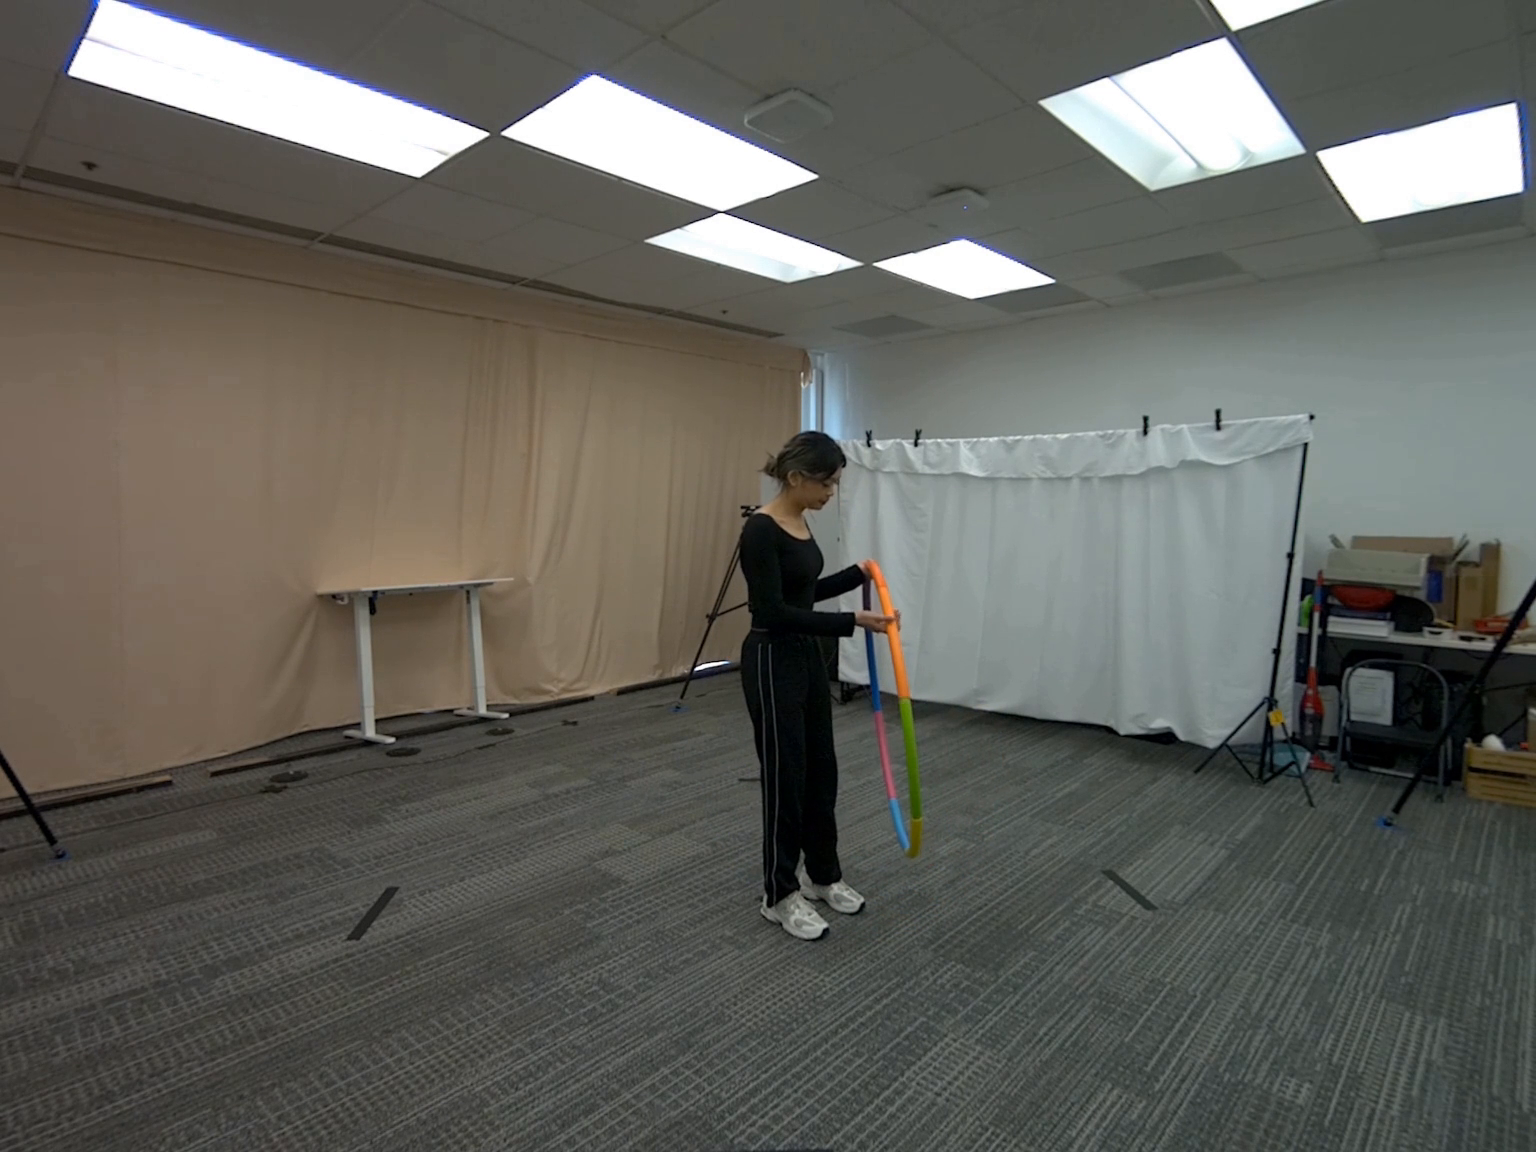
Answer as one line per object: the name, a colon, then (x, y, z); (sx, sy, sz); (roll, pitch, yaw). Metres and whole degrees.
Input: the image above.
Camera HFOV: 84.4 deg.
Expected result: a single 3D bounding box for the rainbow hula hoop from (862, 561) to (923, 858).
rainbow hula hoop: (0.423, 0.455, 2.899); (0.036, 0.977, 0.977); (-8, 3, 2)
